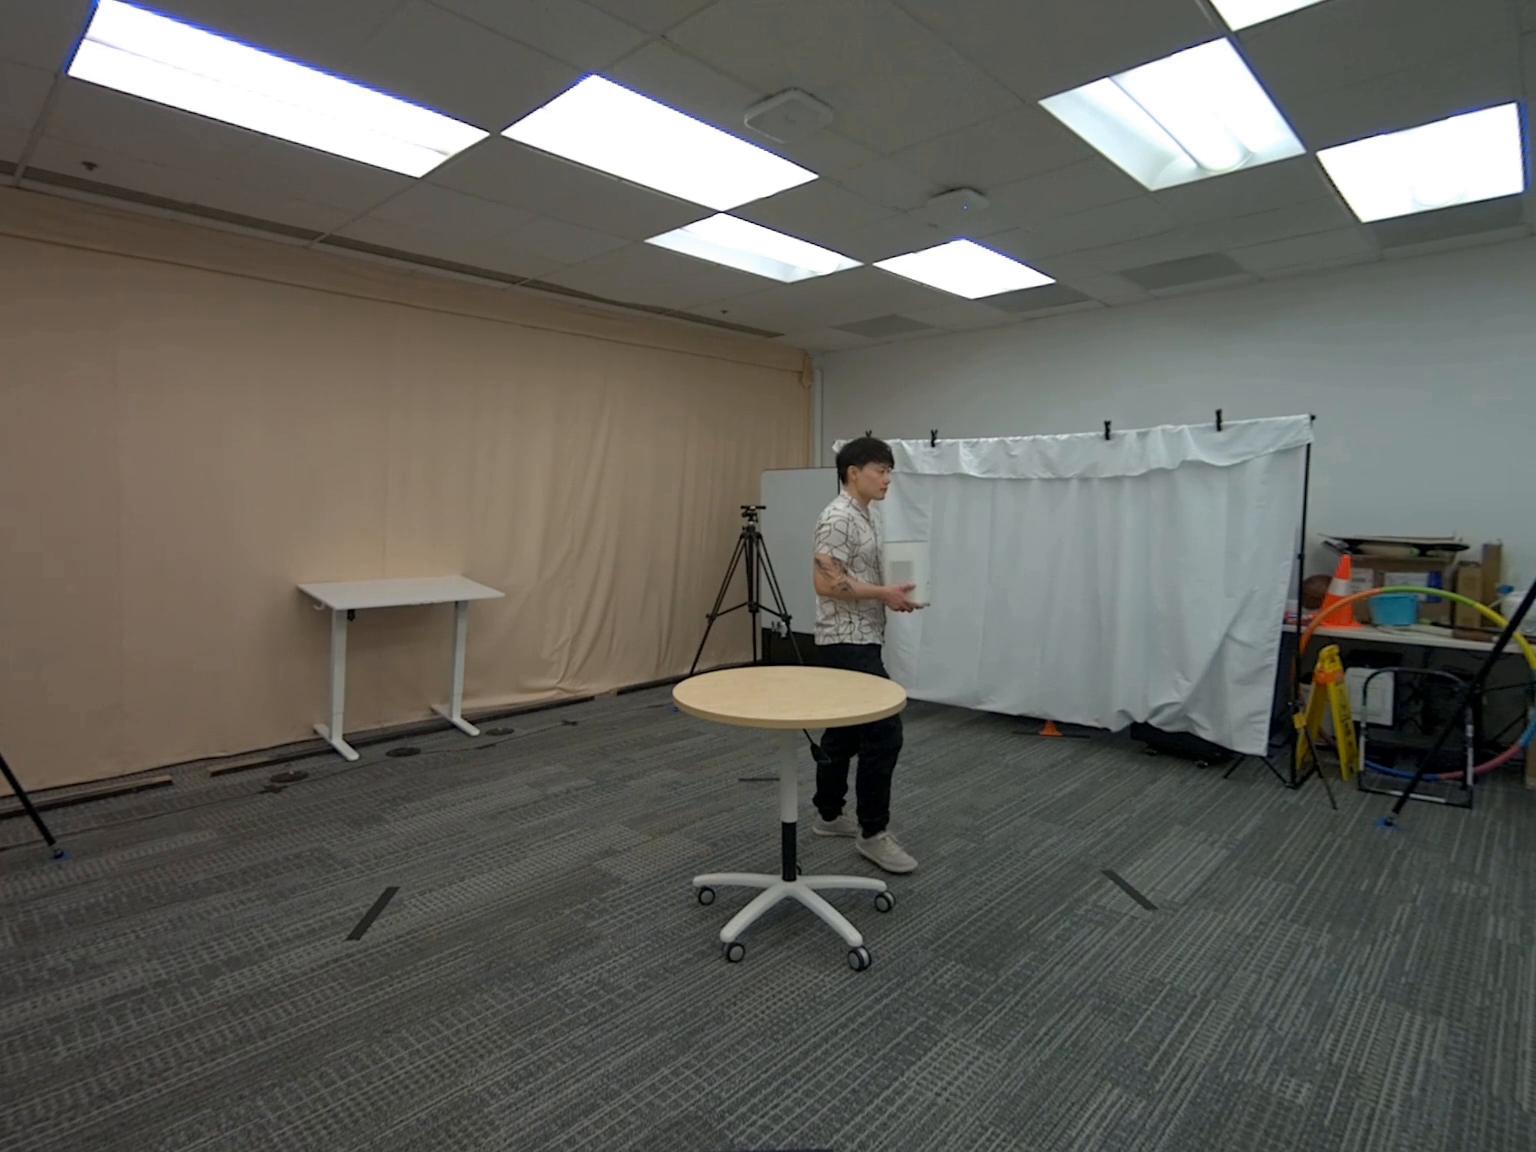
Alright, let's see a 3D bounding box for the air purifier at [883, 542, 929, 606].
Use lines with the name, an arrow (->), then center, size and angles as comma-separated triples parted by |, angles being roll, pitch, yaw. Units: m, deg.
air purifier -> 0.563, -0.005, 3.370 | 0.175, 0.266, 0.167 | -4, -2, 23
